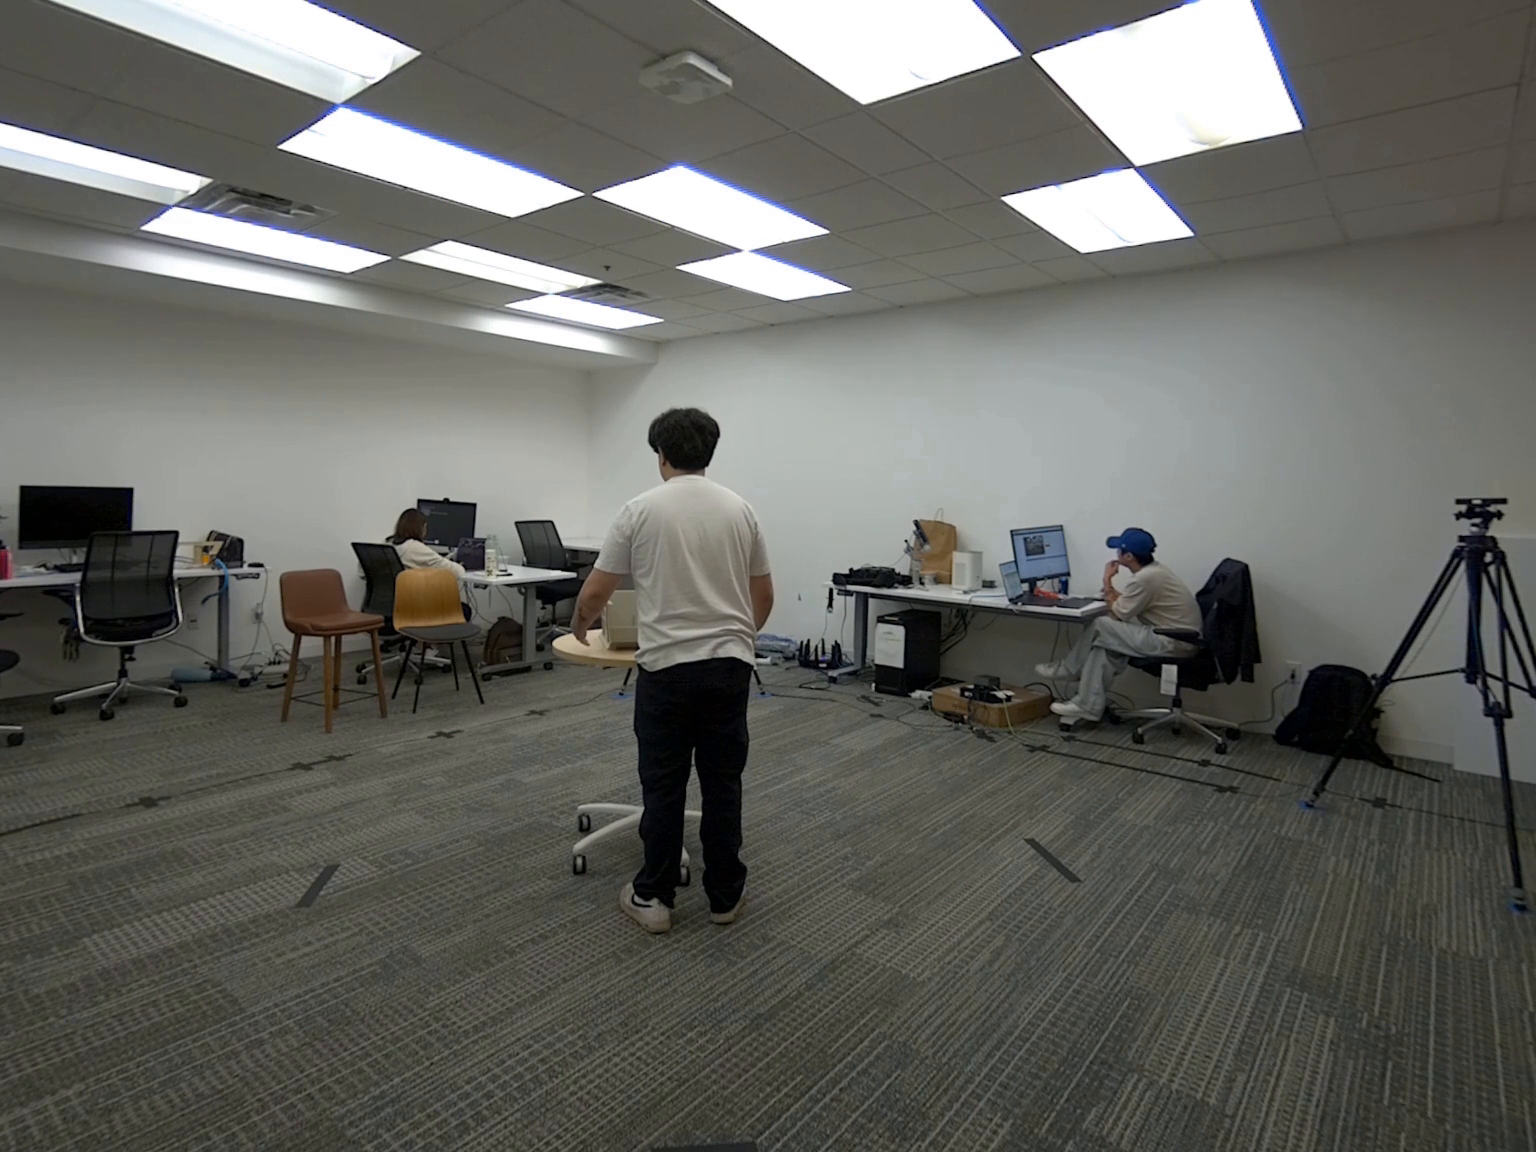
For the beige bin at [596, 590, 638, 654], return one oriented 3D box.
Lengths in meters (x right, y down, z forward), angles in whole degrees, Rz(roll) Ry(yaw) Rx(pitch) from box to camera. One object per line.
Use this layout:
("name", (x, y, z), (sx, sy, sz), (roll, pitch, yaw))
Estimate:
("beige bin", (-0.434, 0.165, 3.265), (0.415, 0.188, 0.384), (-1, 4, -16))
